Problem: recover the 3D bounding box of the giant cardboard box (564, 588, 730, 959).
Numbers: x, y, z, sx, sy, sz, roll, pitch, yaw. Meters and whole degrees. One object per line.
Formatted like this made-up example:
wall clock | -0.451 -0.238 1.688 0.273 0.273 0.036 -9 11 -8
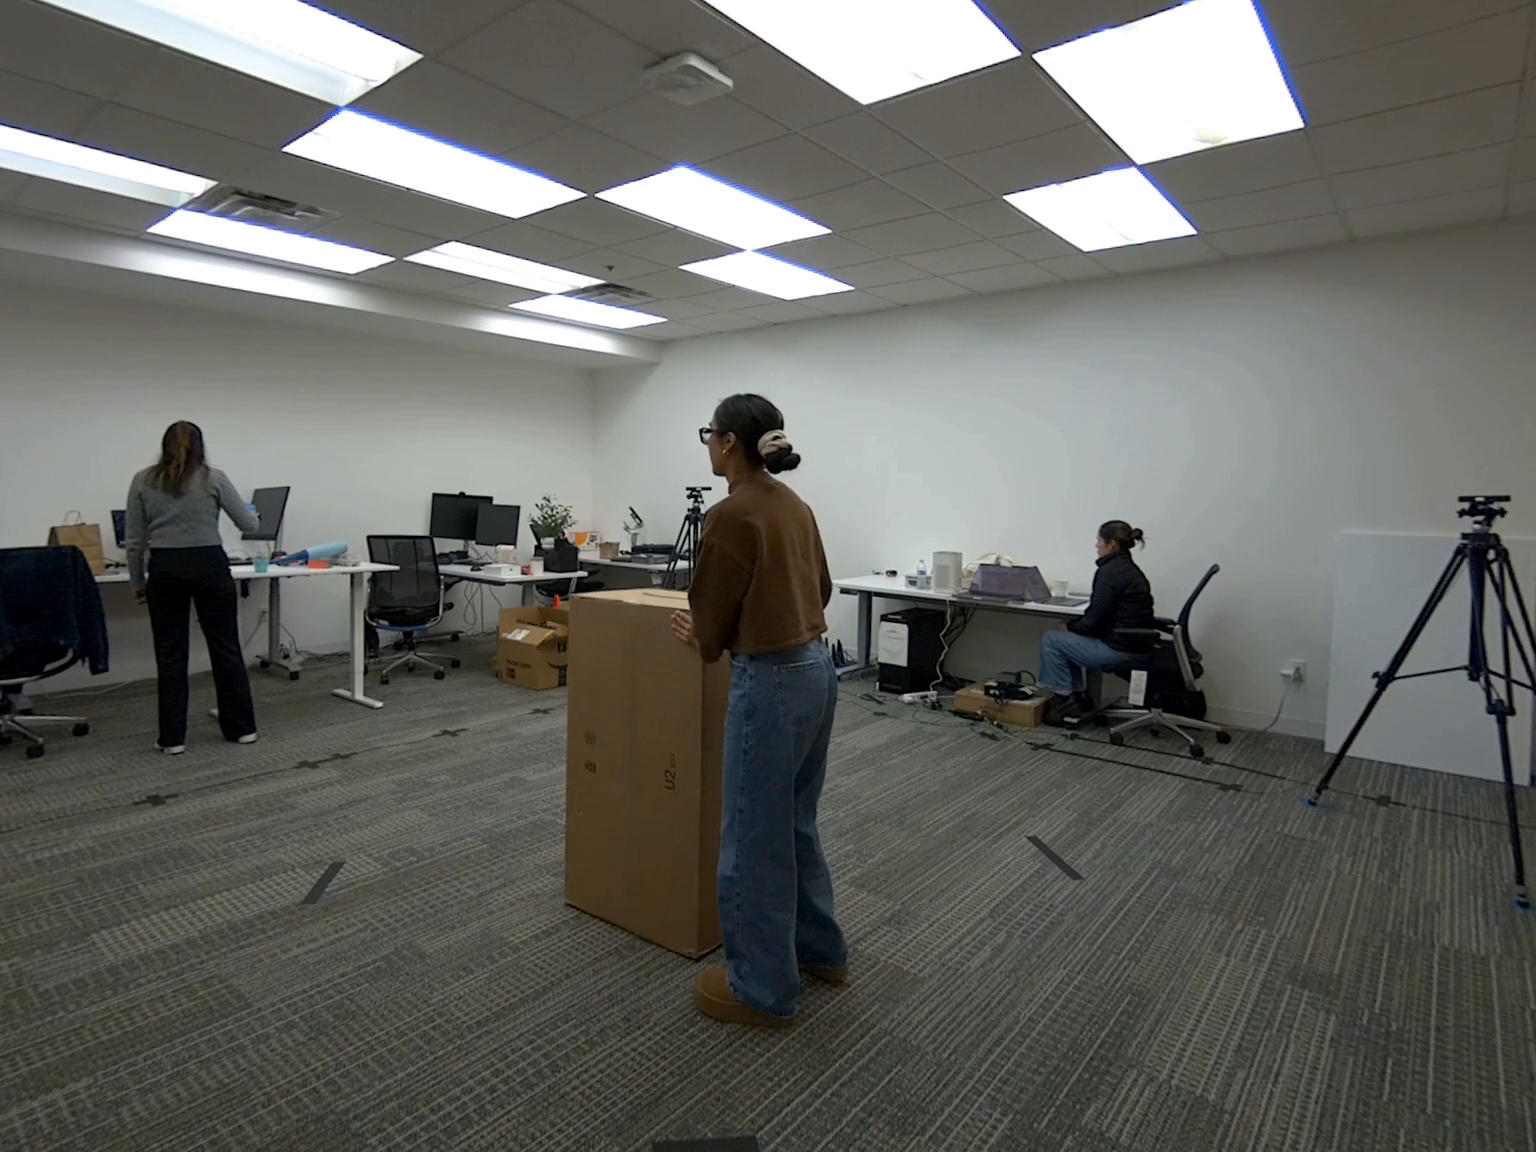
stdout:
giant cardboard box | -0.330 0.582 2.814 0.596 1.024 0.413 3 2 37
